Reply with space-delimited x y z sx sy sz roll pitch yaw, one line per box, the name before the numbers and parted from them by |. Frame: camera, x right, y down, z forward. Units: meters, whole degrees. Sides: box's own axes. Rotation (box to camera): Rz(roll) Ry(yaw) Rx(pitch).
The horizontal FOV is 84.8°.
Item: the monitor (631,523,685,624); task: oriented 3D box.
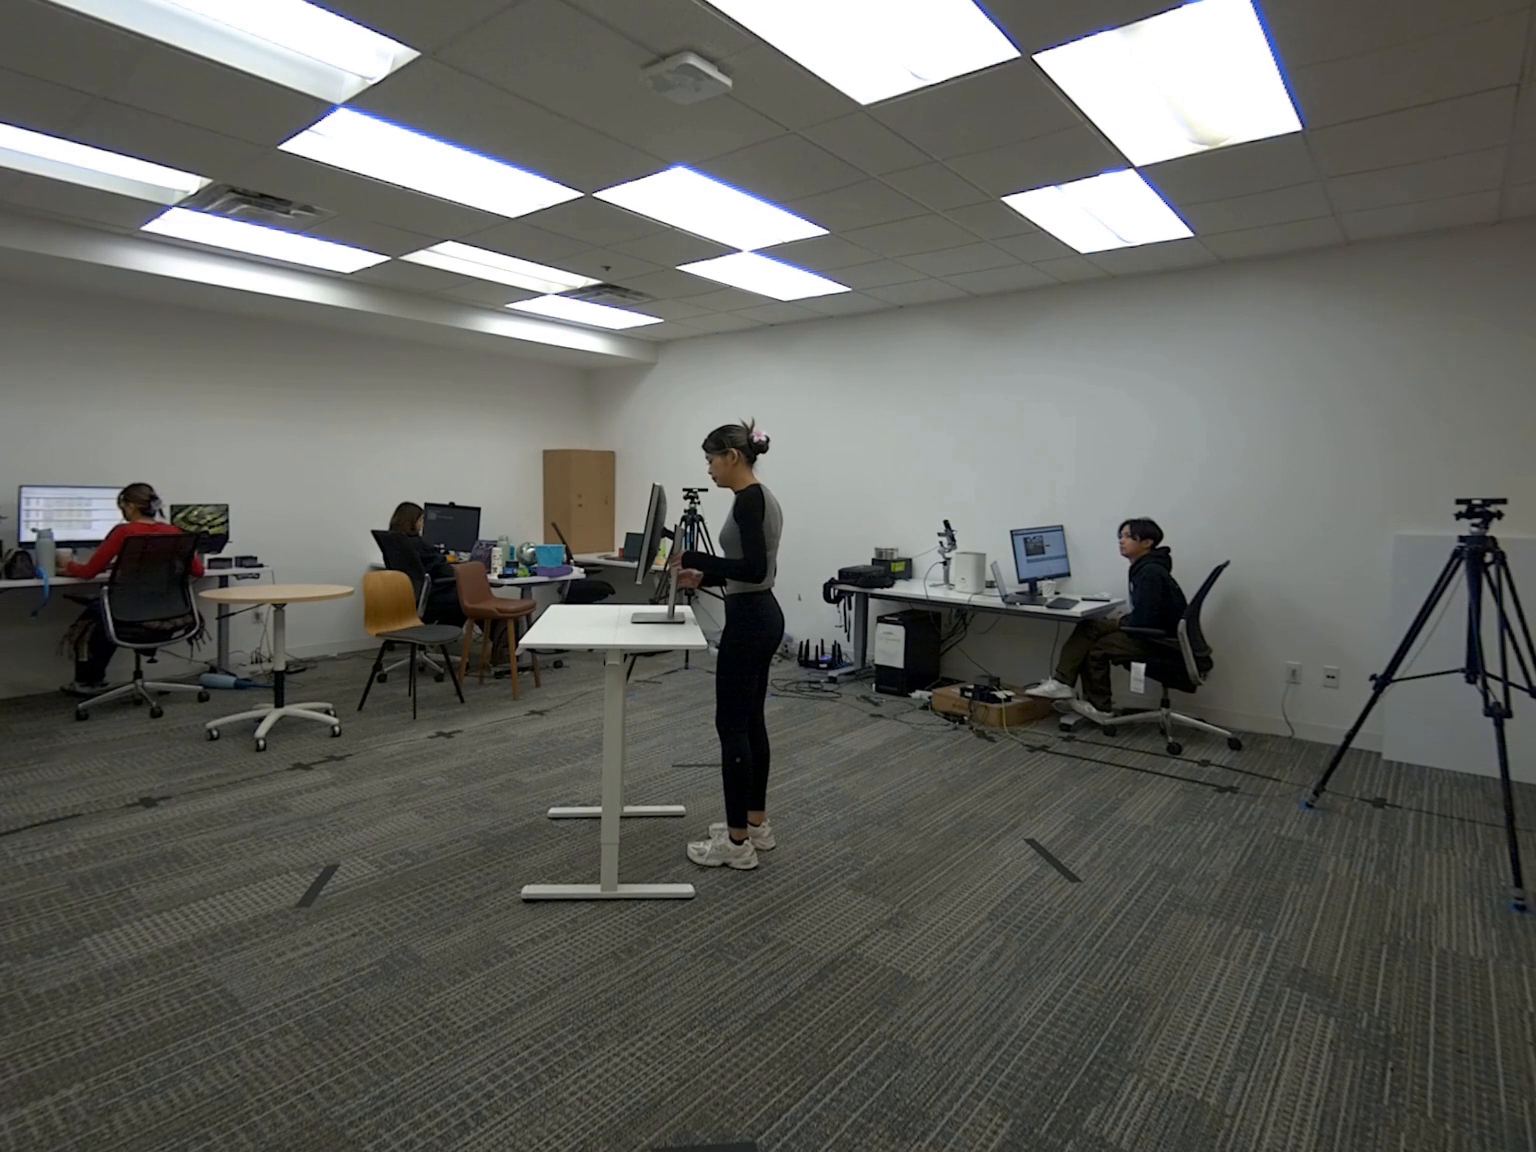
monitor | -0.431 -0.090 3.287 0.186 0.521 0.544 -1 3 -7
